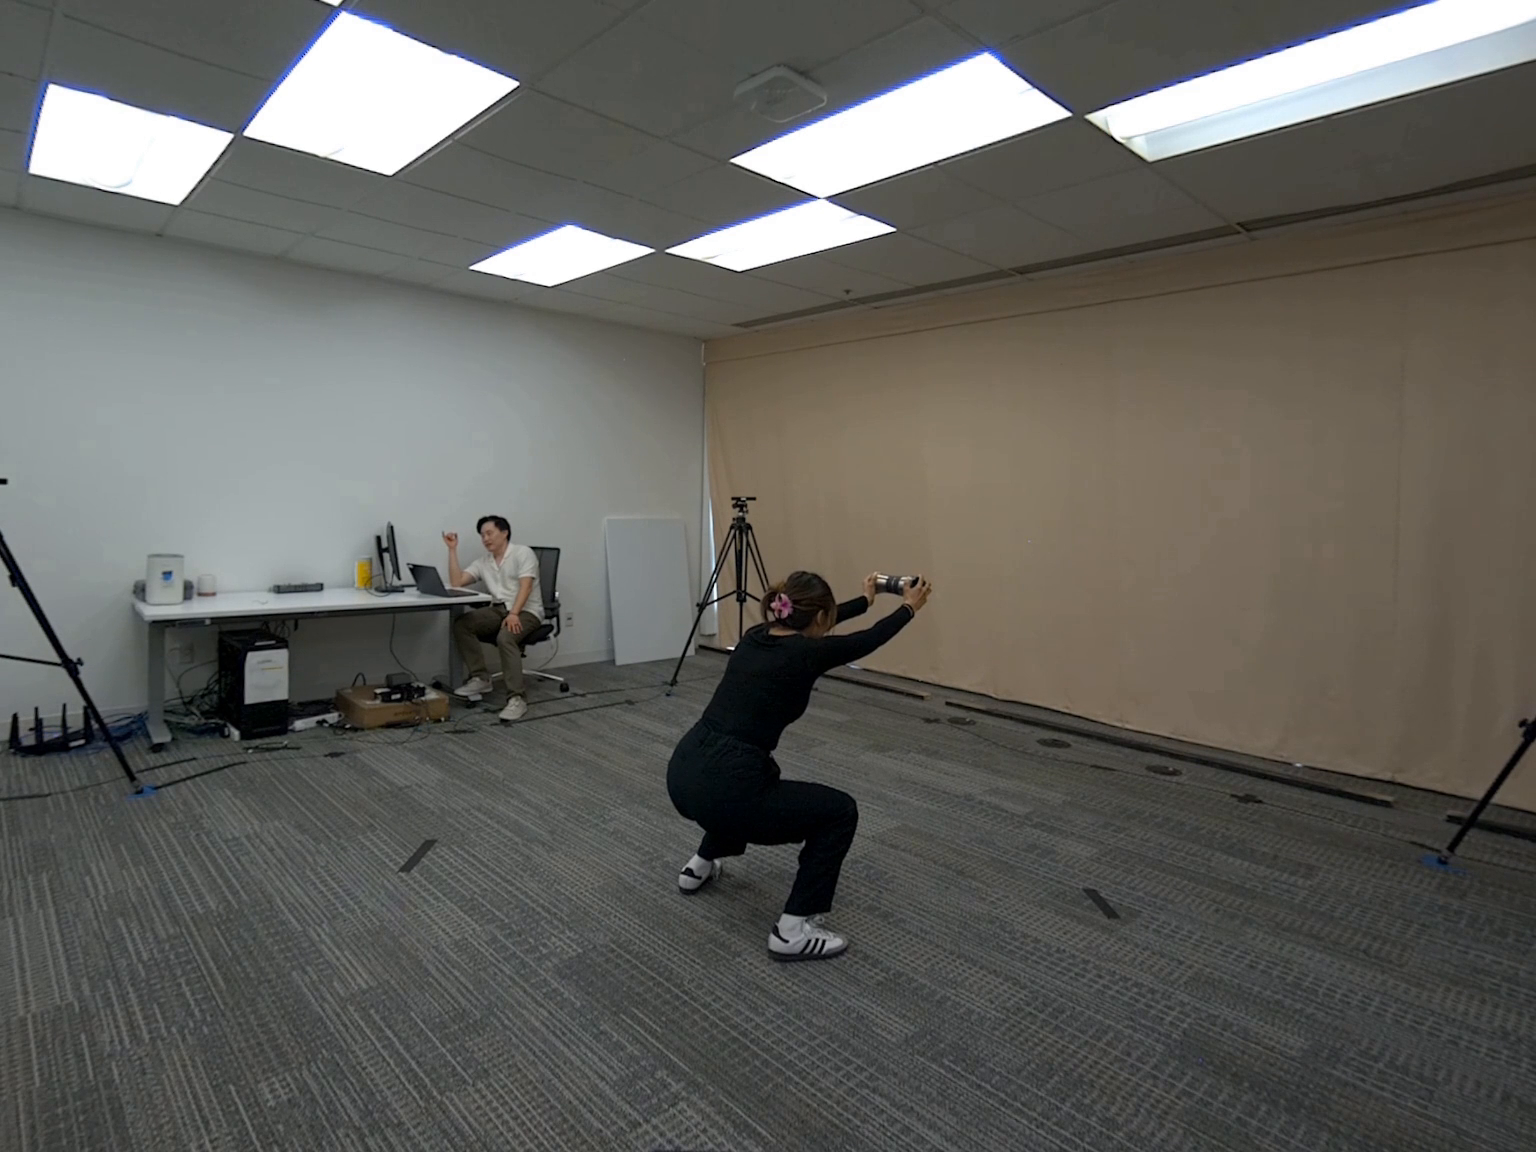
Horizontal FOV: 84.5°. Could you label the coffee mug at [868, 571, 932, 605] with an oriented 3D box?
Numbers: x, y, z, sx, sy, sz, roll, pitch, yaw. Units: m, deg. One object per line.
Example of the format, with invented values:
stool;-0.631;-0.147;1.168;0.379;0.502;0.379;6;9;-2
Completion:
coffee mug;0.499;0.045;3.249;0.119;0.088;0.208;7;3;-40
